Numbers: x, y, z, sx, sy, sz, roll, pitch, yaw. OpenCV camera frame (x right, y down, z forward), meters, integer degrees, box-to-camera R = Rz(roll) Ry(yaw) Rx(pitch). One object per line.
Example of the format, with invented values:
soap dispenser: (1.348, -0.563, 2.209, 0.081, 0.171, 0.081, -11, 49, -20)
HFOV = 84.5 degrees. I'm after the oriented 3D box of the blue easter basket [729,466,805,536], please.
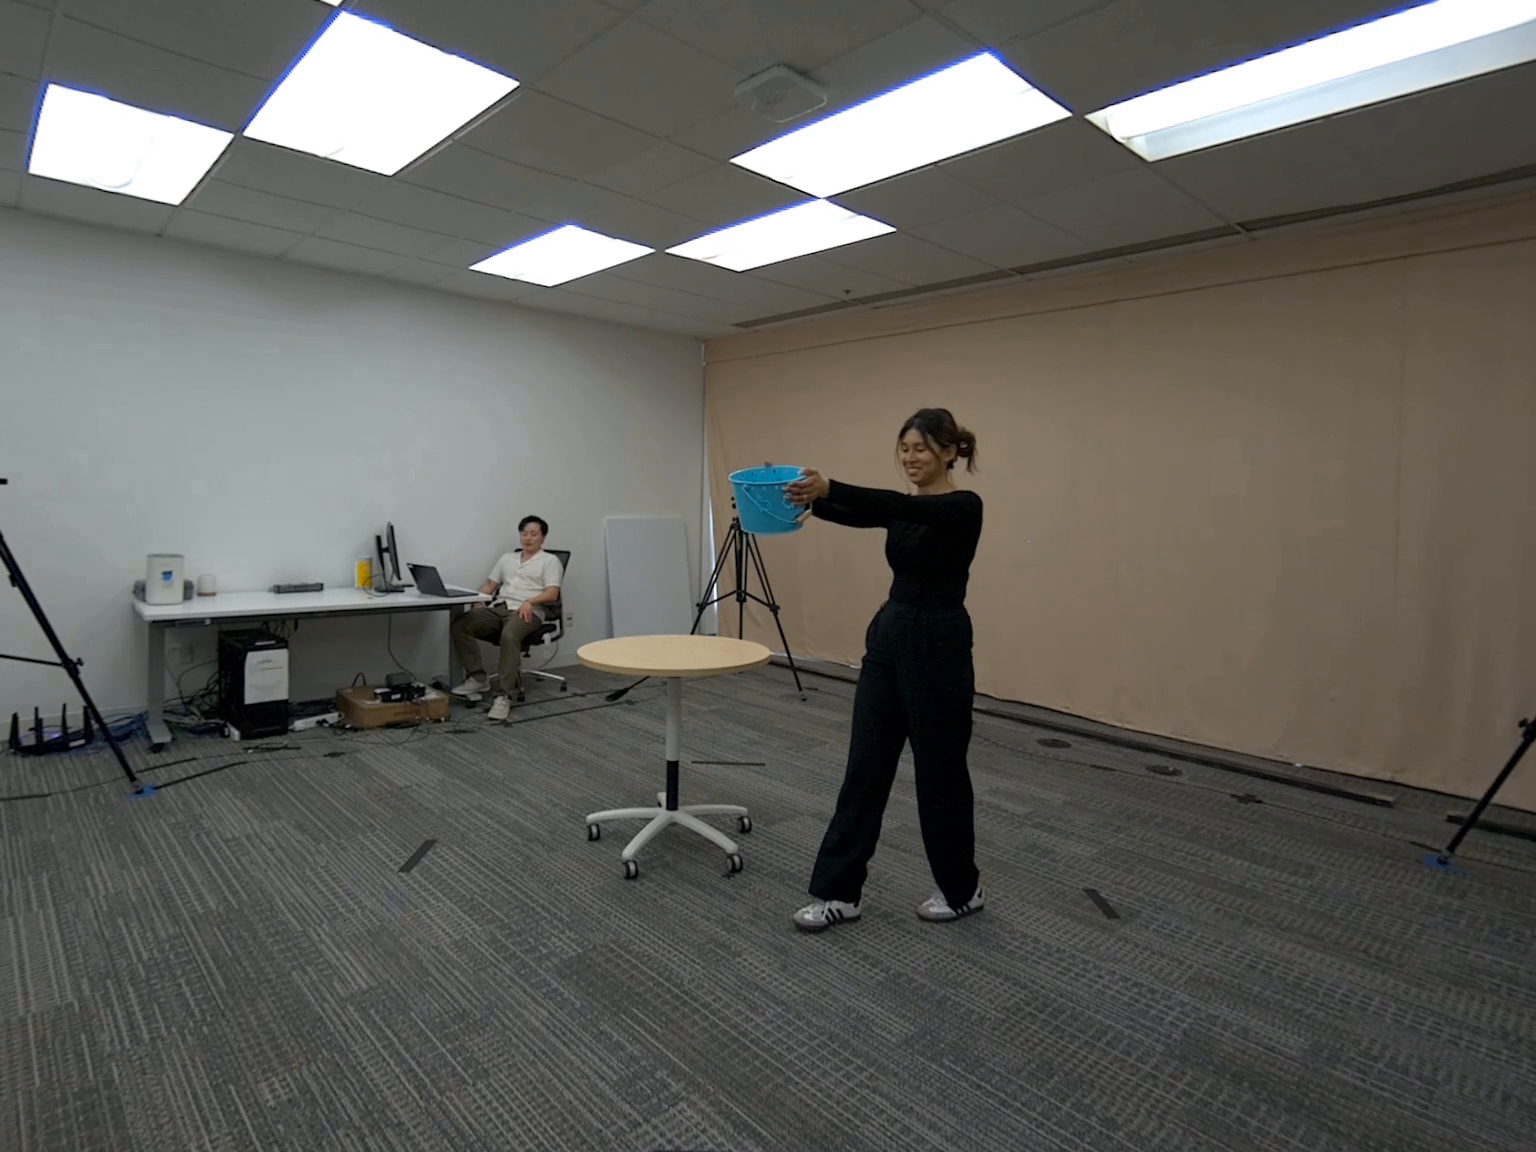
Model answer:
blue easter basket: (0.003, -0.212, 2.389, 0.243, 0.154, 0.246, -2, 16, -1)
